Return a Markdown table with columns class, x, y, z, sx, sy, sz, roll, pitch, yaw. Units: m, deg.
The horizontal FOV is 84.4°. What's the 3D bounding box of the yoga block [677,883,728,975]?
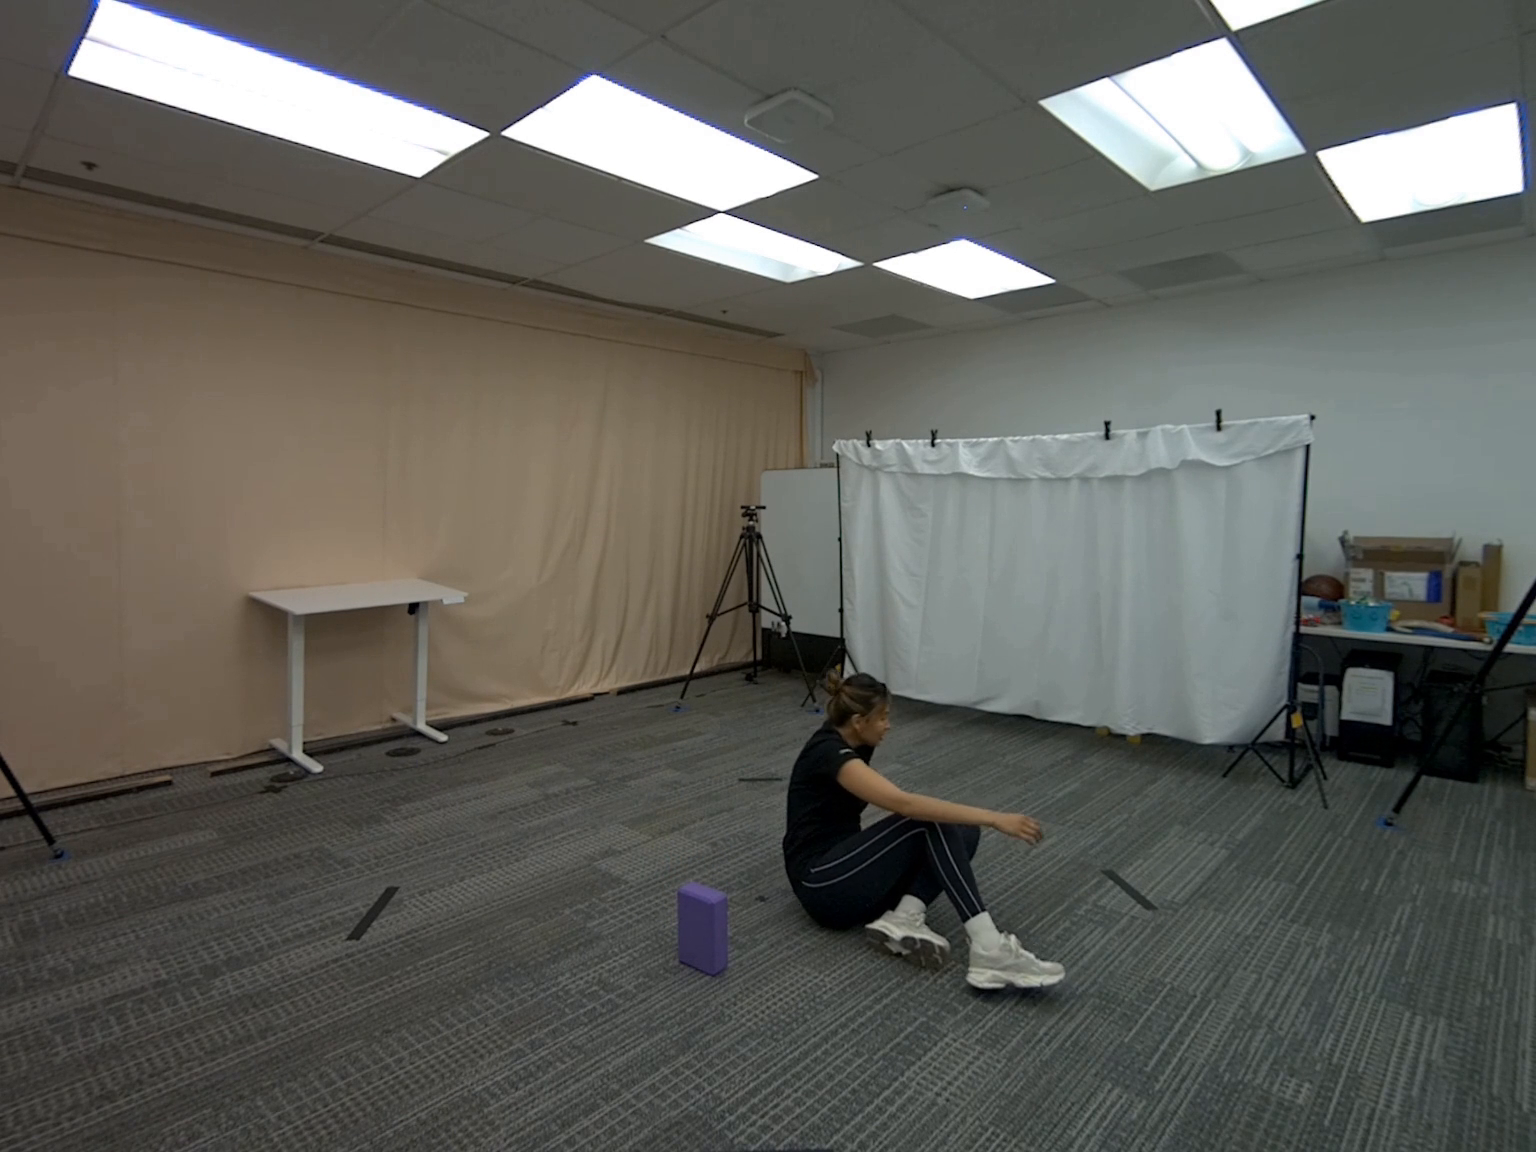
| class | x | y | z | sx | sy | sz | roll | pitch | yaw |
| --- | --- | --- | --- | --- | --- | --- | --- | --- | --- |
| yoga block | -0.195 | 1.069 | 2.550 | 0.154 | 0.229 | 0.074 | 2 | 2 | 36 |
